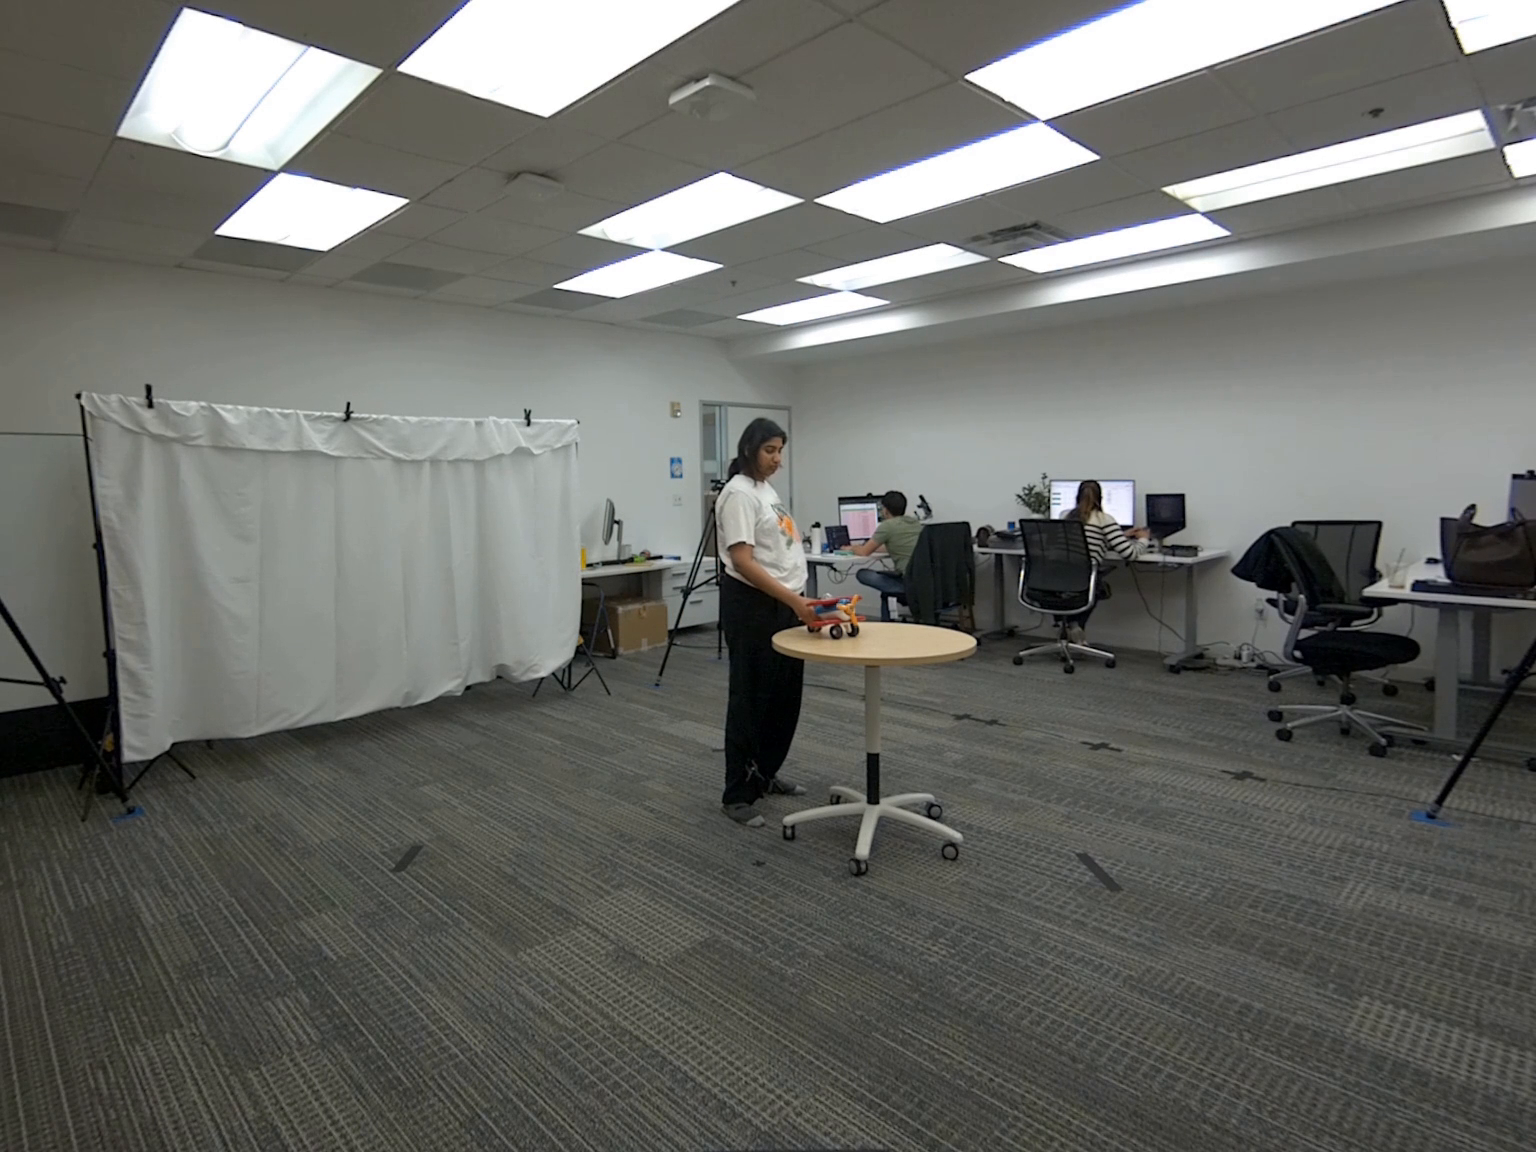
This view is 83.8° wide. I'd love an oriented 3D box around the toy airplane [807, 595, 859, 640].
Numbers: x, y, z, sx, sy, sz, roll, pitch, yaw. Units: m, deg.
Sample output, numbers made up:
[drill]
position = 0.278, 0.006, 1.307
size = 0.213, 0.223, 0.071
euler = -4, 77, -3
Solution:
[toy airplane]
position = 0.232, 0.156, 3.339
size = 0.265, 0.156, 0.246
euler = 2, 6, 26
